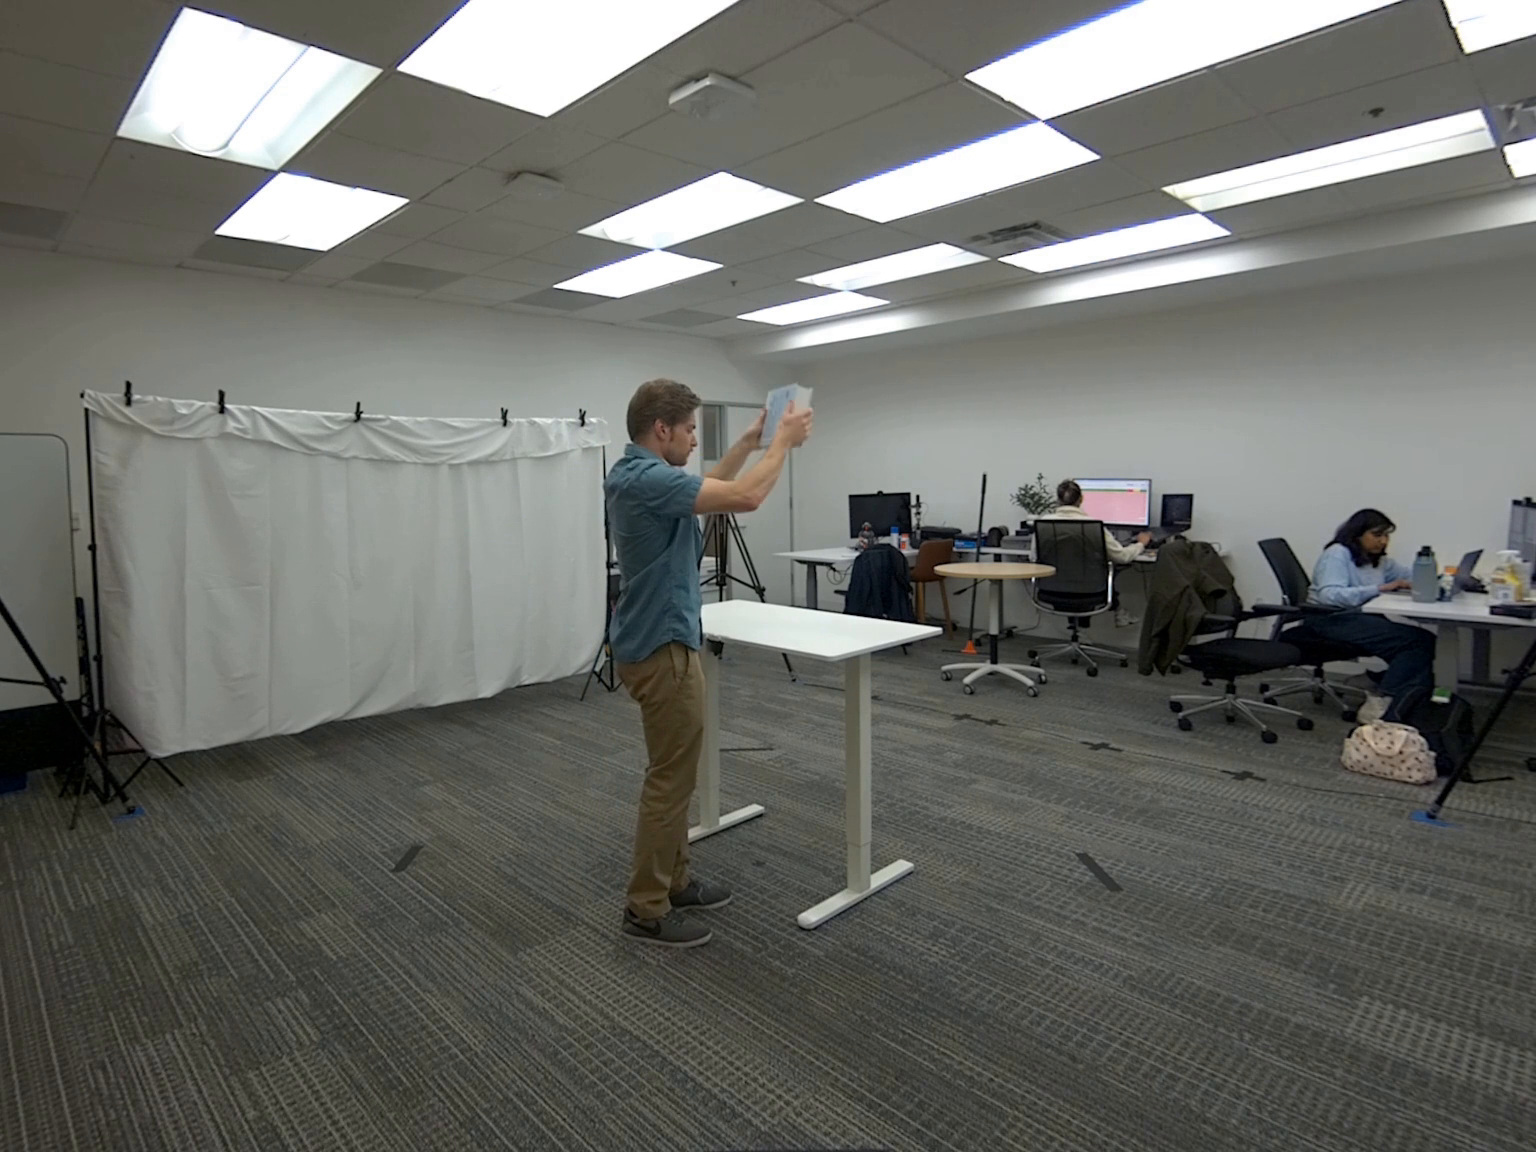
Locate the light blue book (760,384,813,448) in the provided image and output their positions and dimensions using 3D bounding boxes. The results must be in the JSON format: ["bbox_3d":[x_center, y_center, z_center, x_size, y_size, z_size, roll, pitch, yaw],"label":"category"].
[{"bbox_3d":[0.040,-0.495,2.735,0.058,0.191,0.266,14,1,-18],"label":"light blue book"}]
